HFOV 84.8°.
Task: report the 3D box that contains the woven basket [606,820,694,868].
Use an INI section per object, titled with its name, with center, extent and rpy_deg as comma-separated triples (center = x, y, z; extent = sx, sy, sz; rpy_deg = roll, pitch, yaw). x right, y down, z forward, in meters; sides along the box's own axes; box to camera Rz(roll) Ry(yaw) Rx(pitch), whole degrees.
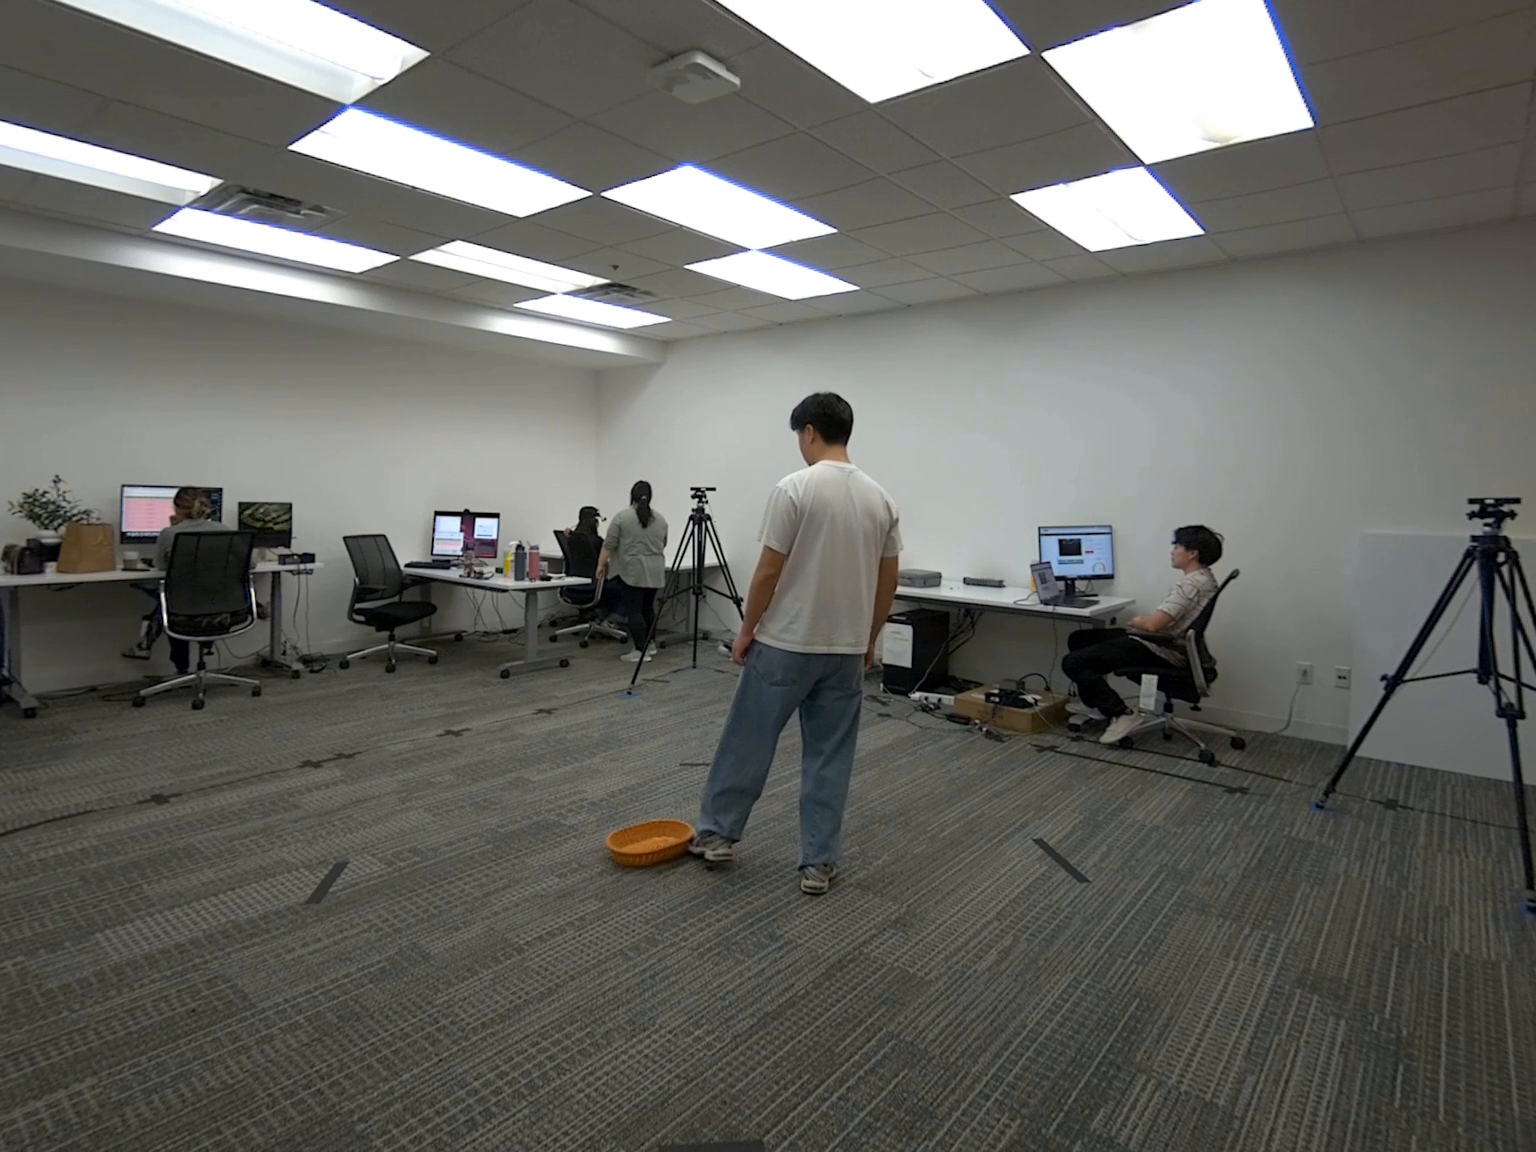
[woven basket]
center = -0.448, 1.008, 3.216
extent = 0.341, 0.073, 0.260
rpy_deg = -5, 7, -32
